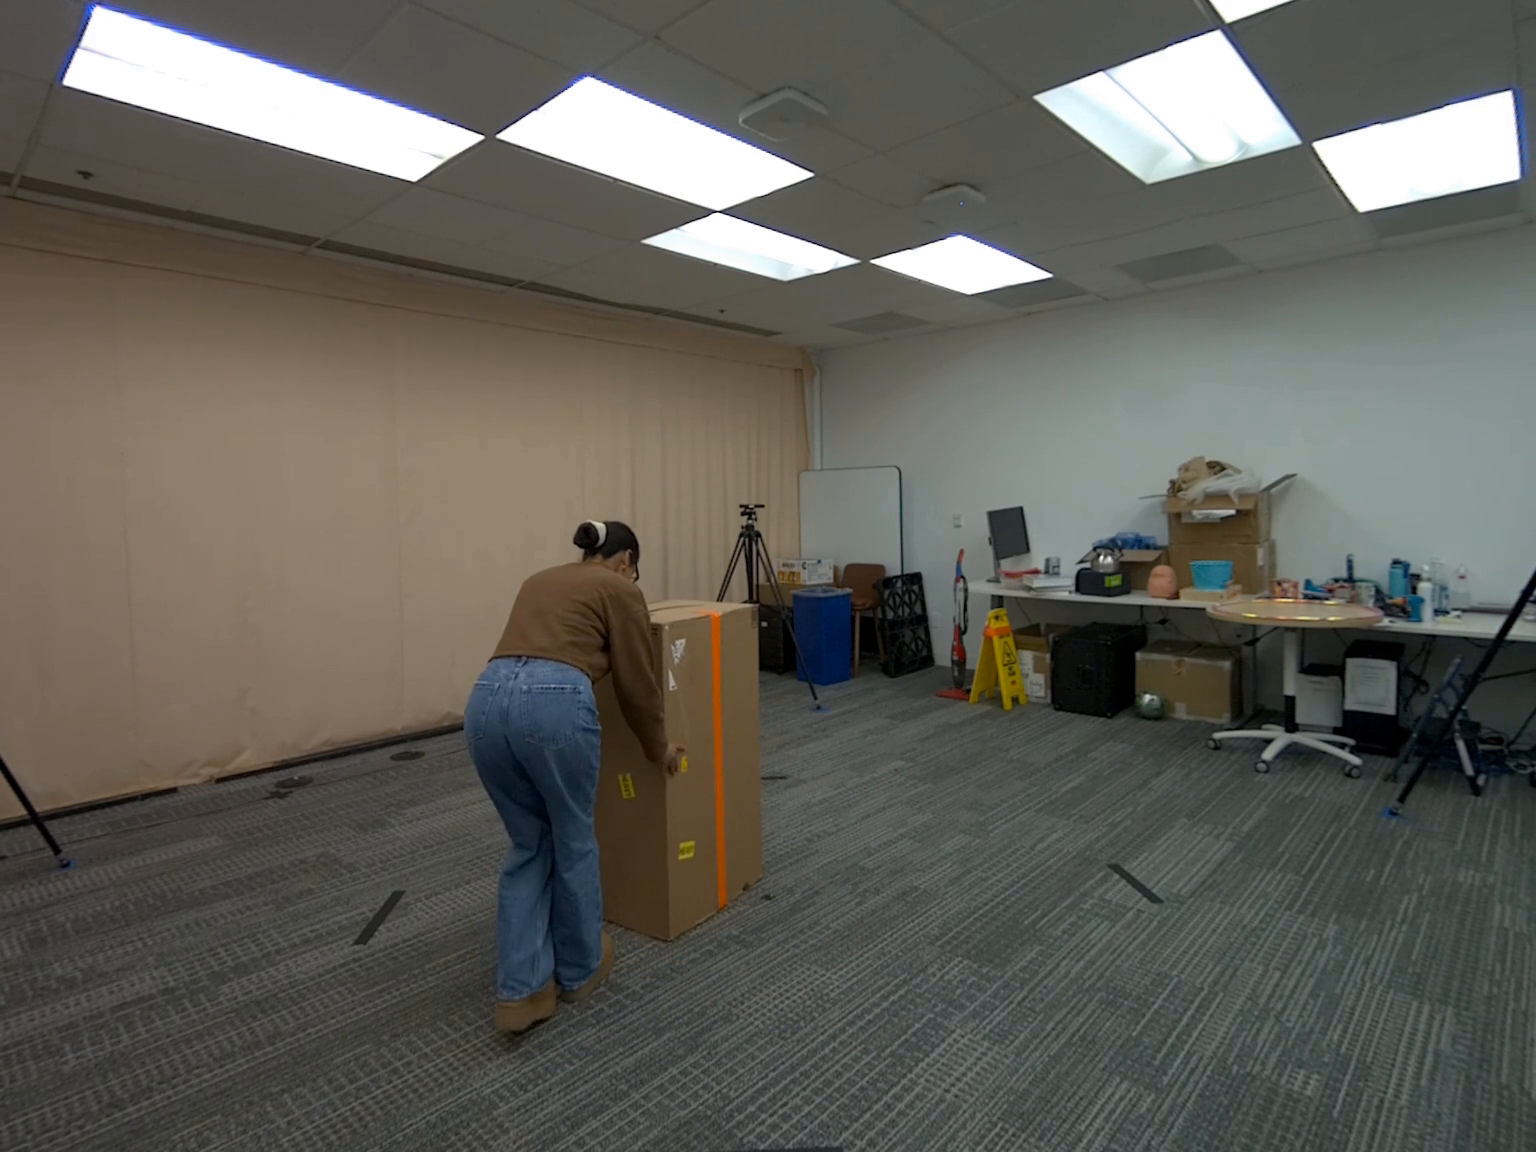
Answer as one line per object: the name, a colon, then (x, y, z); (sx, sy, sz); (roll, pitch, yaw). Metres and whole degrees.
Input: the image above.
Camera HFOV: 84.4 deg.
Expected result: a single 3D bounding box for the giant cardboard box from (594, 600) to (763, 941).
giant cardboard box: (-0.350, 0.637, 3.014); (0.439, 1.024, 0.561); (1, 3, 33)
